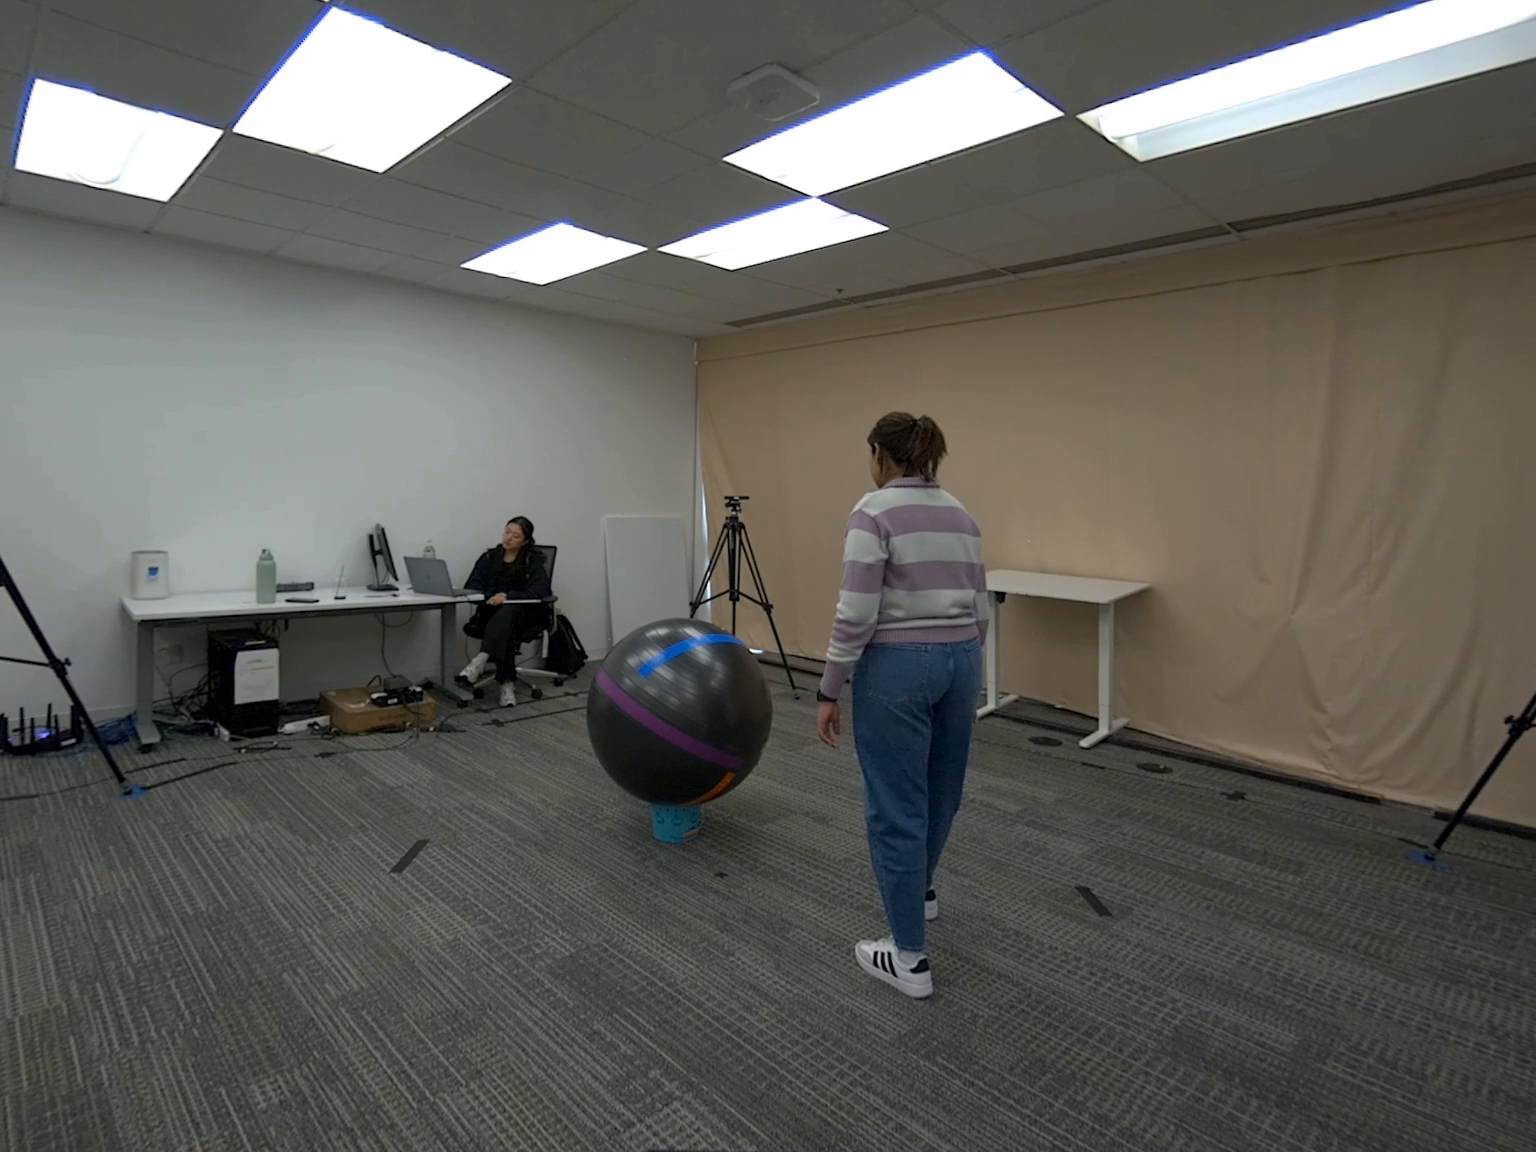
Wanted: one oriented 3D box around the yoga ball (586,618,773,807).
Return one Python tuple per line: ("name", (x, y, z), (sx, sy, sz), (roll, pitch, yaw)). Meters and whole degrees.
("yoga ball", (-0.366, 0.557, 3.468), (0.757, 0.756, 0.761), (1, 4, -1))
